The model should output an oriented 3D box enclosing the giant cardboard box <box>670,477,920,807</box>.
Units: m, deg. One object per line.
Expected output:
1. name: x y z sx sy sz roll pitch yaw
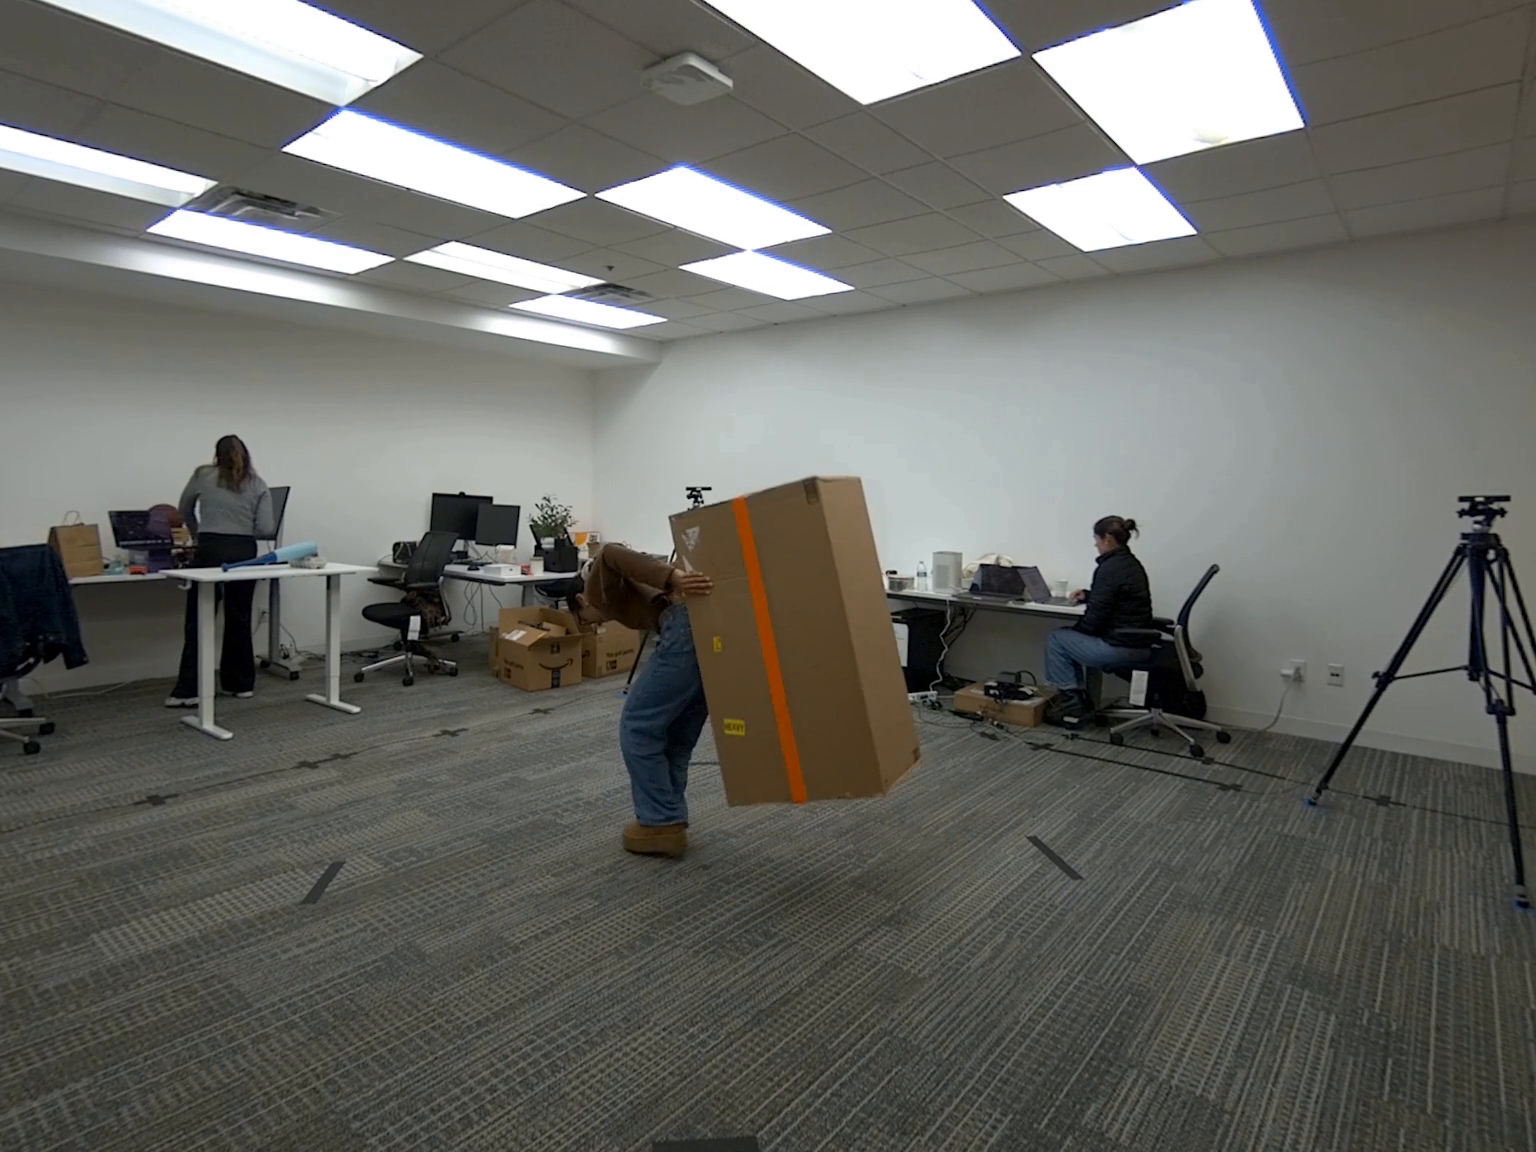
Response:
1. giant cardboard box: 0.083 0.225 2.974 0.596 1.032 0.436 -14 -4 28
